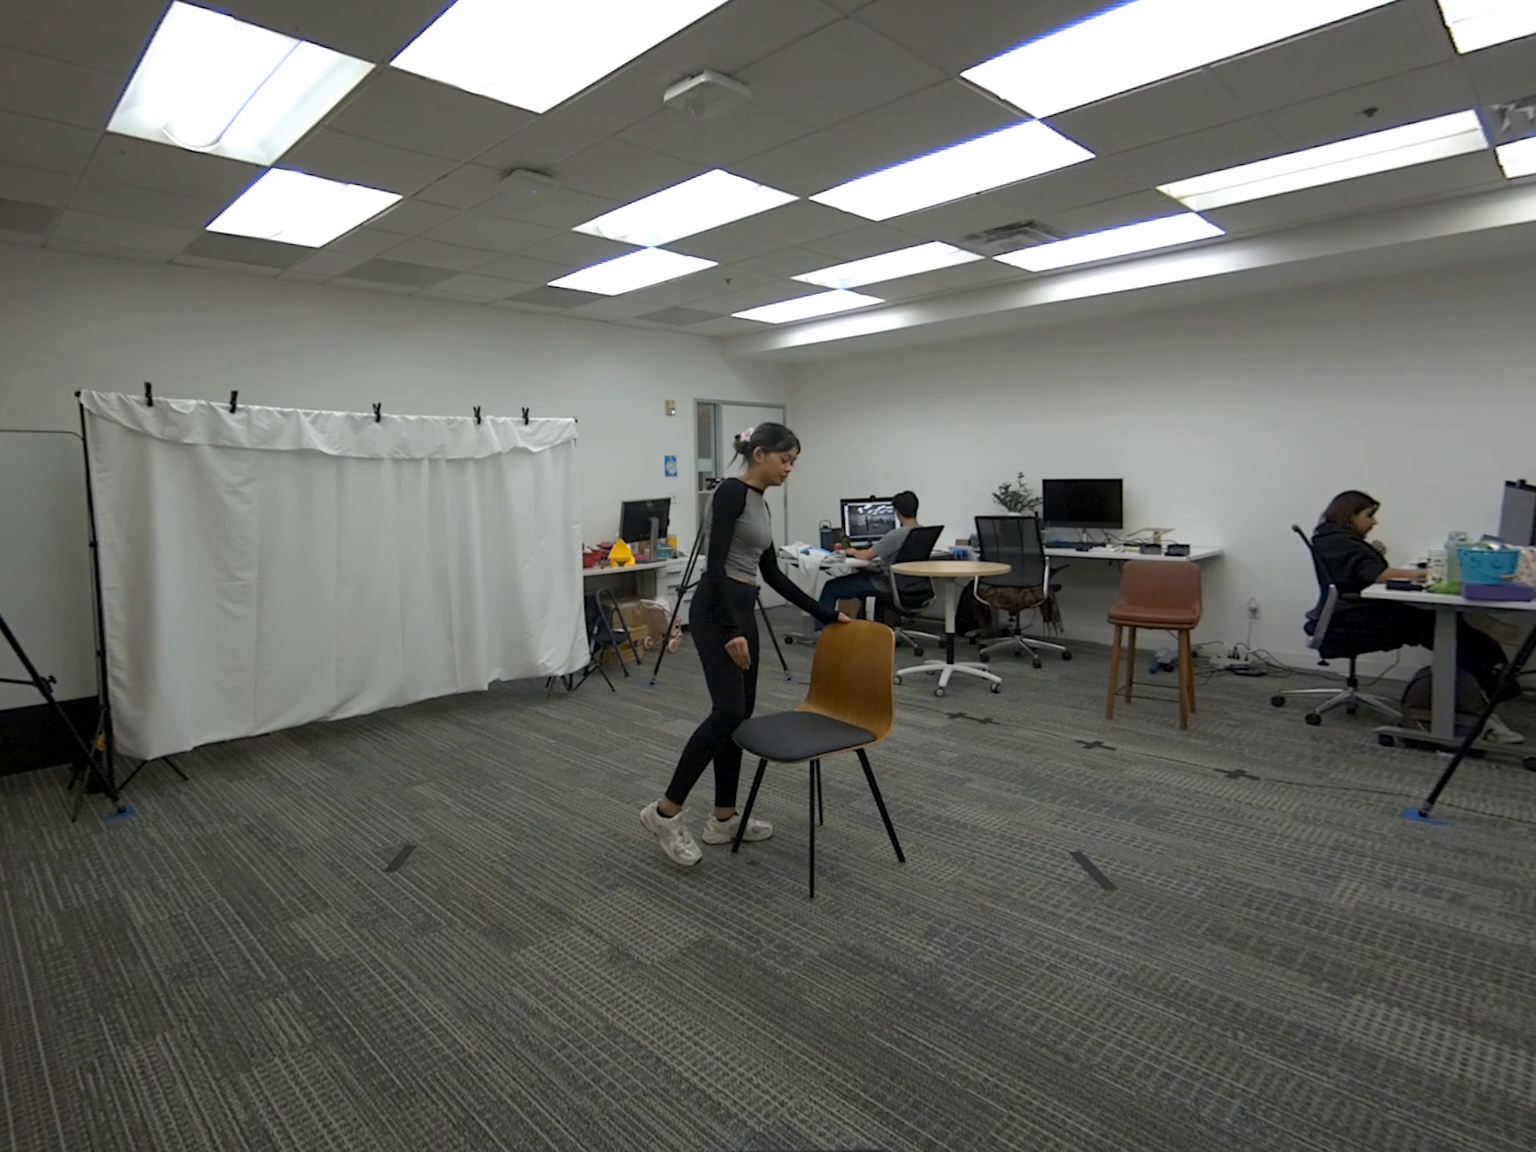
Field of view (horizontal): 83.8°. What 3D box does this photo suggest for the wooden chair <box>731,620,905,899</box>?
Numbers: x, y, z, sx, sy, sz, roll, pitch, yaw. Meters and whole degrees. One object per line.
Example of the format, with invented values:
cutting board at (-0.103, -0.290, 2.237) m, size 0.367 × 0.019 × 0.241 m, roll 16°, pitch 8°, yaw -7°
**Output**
wooden chair at (0.170, 0.609, 3.100) m, size 0.508 × 0.876 × 0.492 m, roll 2°, pitch 2°, yaw -38°
